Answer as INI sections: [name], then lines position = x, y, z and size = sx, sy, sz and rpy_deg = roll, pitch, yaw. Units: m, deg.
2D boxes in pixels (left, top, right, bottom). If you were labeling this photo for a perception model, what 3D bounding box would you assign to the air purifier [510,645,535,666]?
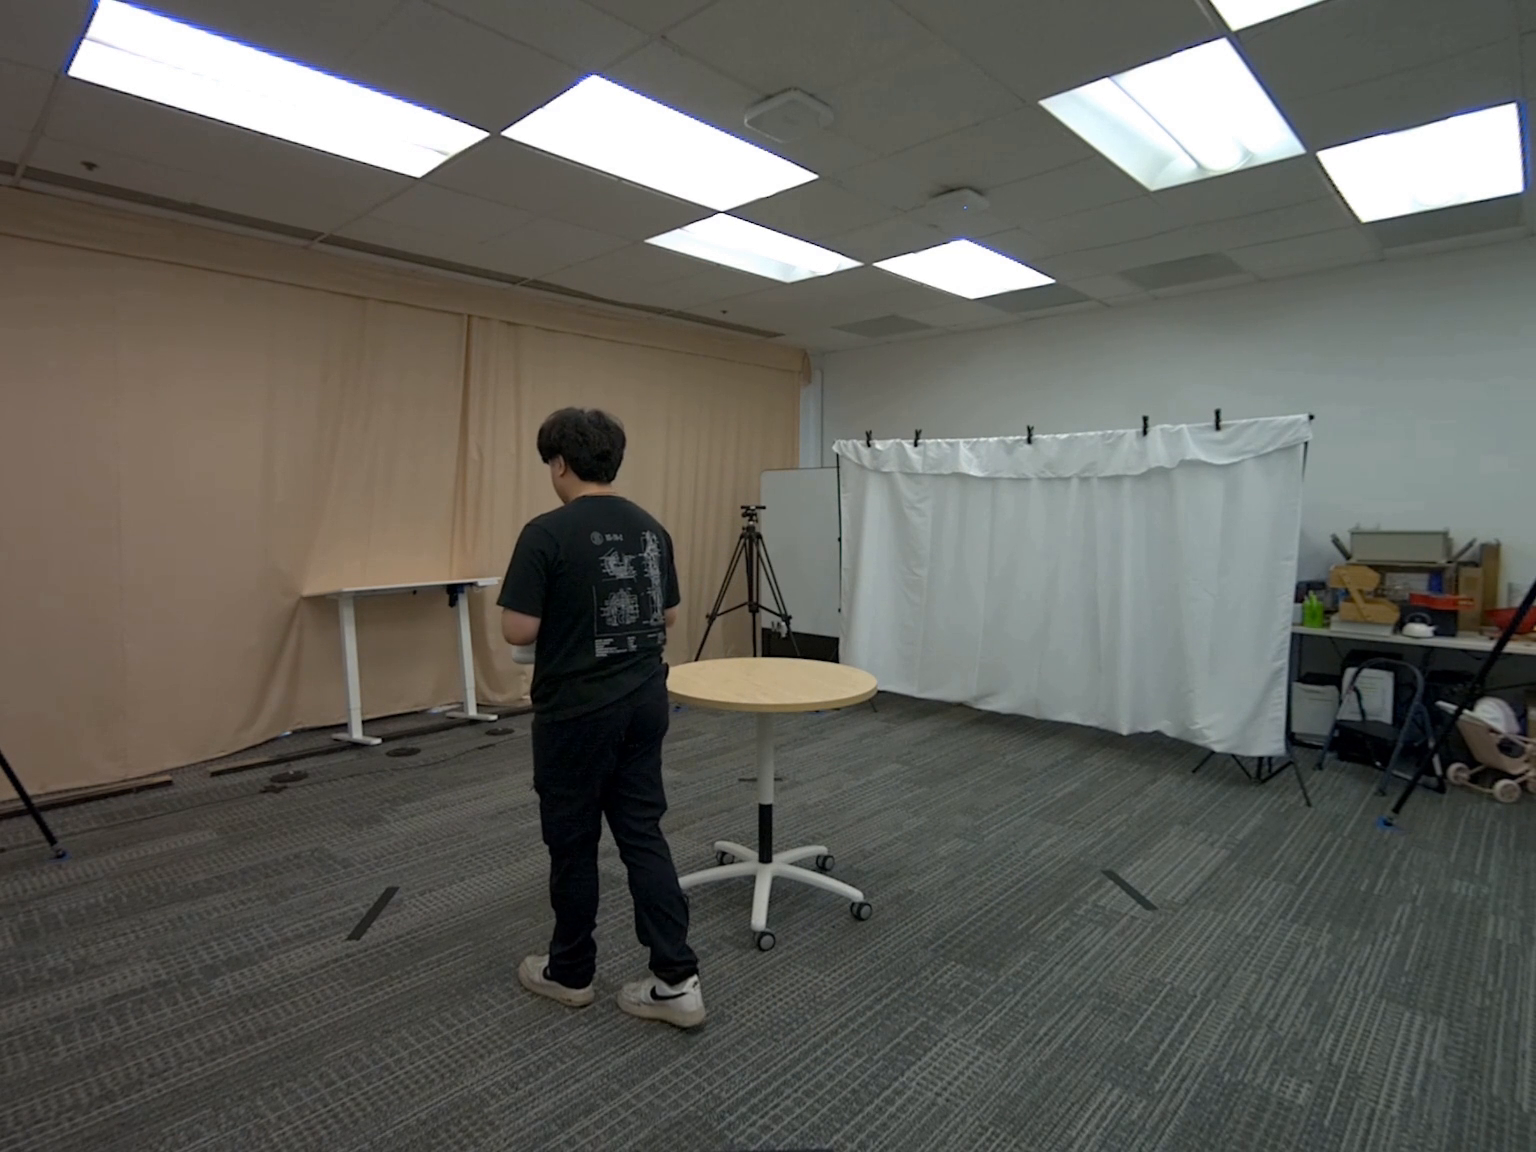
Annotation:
[air purifier]
position = -0.675, 0.125, 2.543
size = 0.171, 0.265, 0.171
rpy_deg = -3, 0, -2
